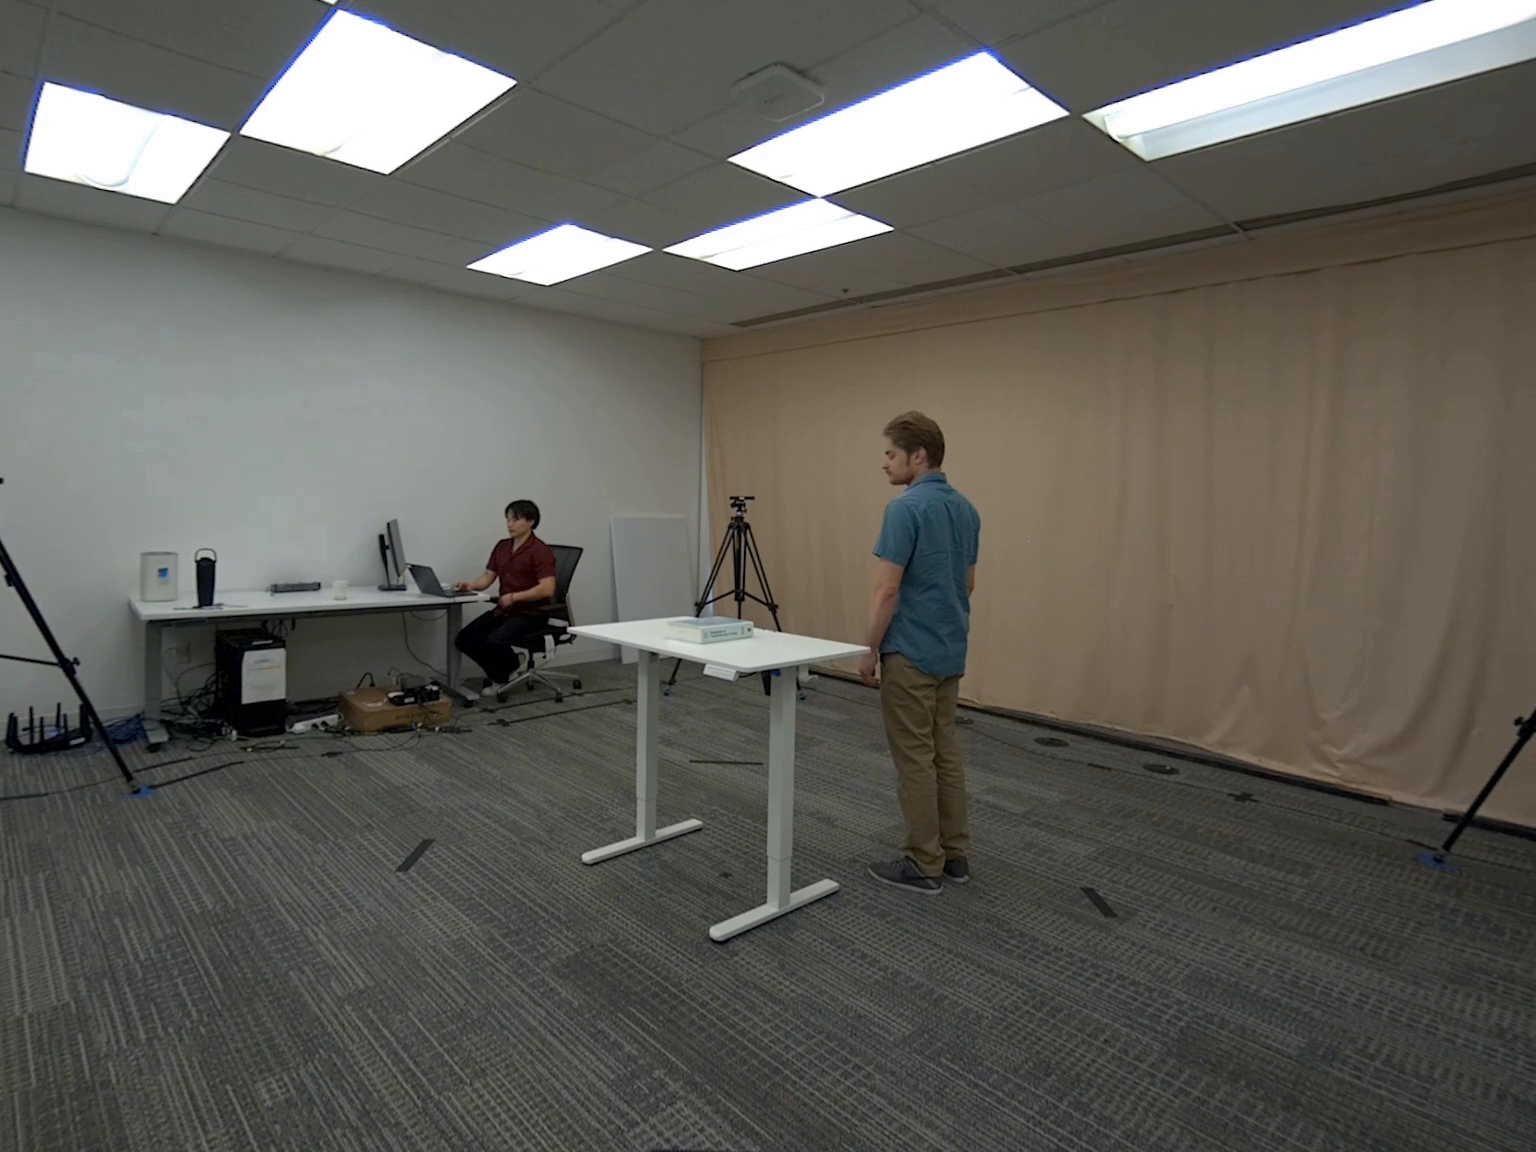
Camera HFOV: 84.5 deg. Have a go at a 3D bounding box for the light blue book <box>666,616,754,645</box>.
[{"bbox_3d":[-0.214,0.196,3.057,0.196,0.059,0.255,6,7,44],"label":"light blue book"}]
